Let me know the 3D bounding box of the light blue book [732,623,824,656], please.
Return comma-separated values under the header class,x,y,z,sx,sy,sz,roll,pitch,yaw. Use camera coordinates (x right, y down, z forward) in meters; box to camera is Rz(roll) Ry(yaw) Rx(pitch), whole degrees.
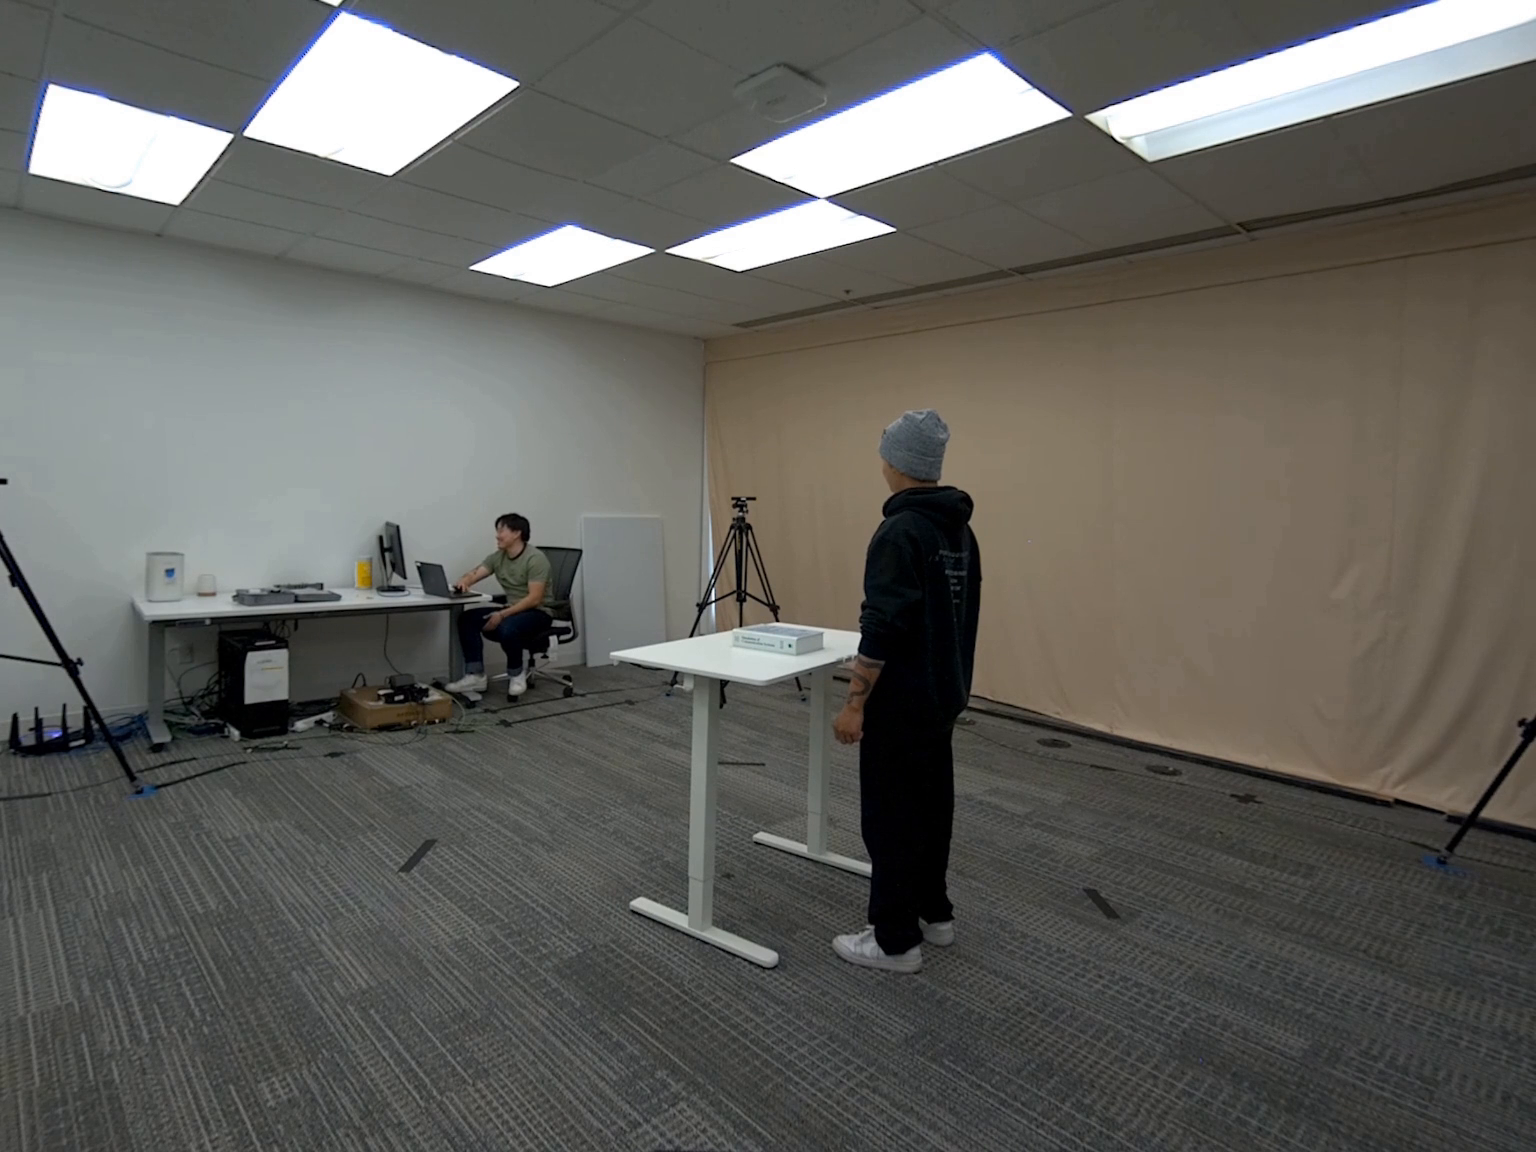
class,x,y,z,sx,sy,sz,roll,pitch,yaw
light blue book,0.033,0.220,2.909,0.267,0.059,0.187,5,6,35
